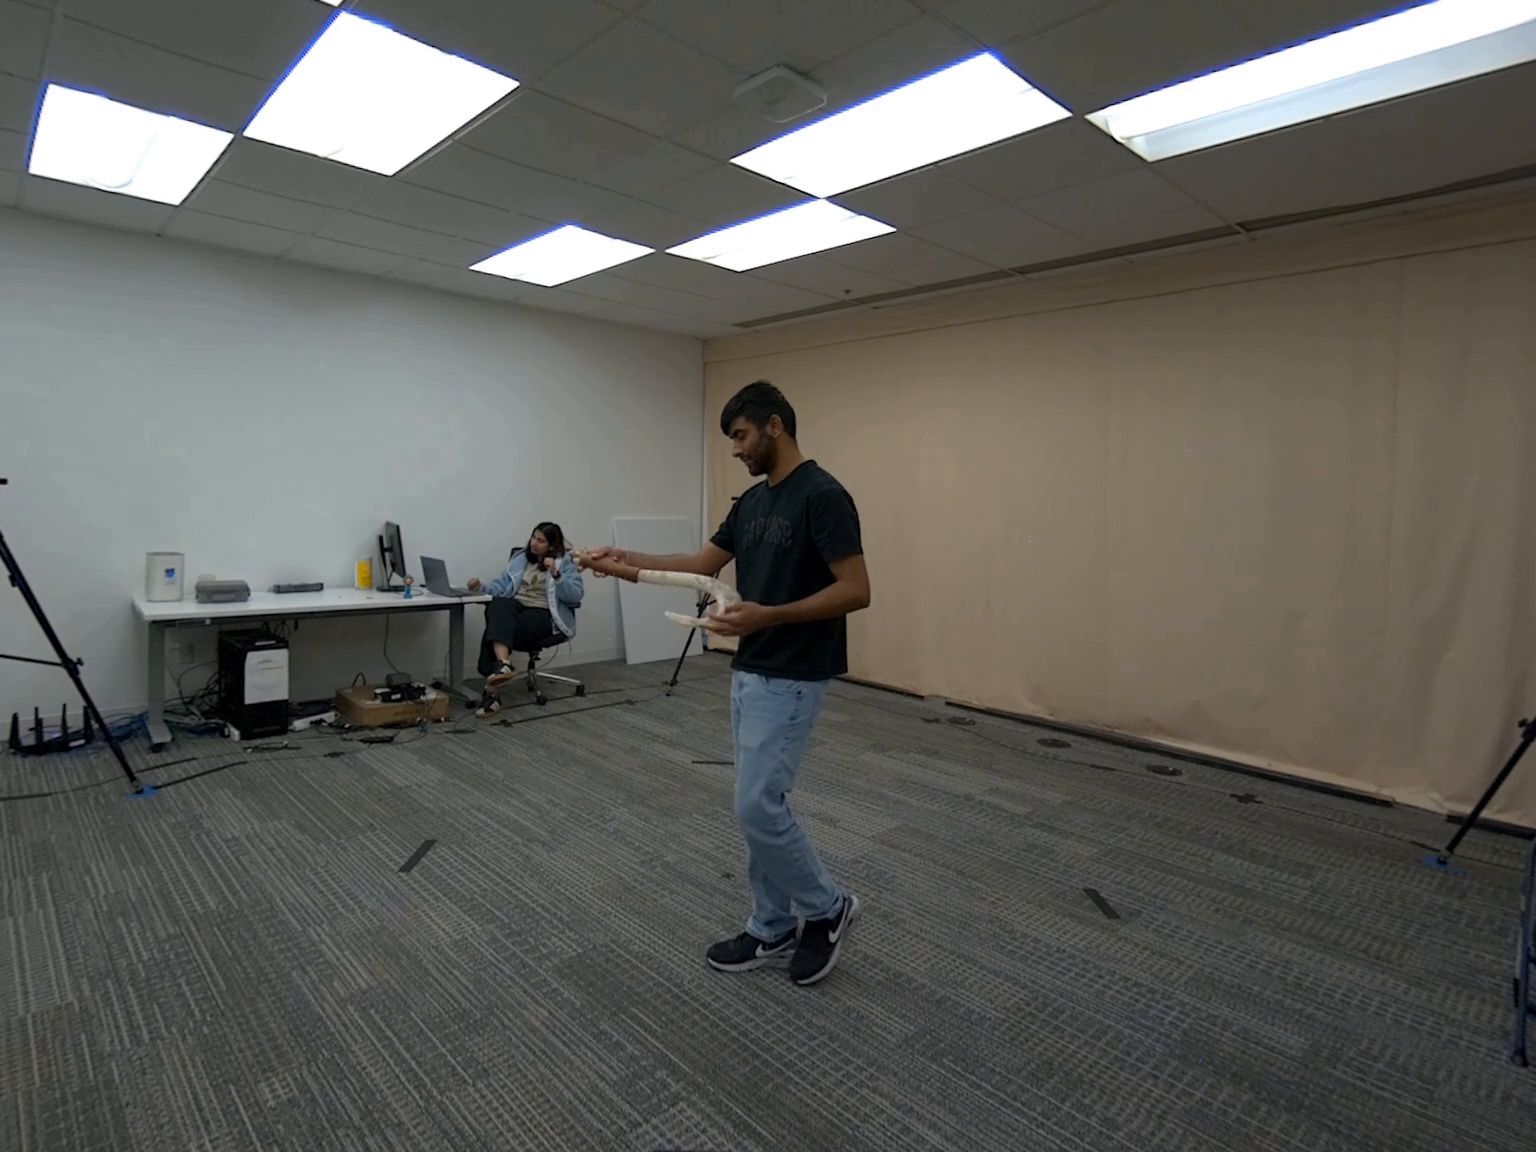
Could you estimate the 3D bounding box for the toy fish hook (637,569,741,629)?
[{"bbox_3d":[-0.318,0.034,2.339,0.507,0.047,0.228,13,32,1],"label":"toy fish hook"}]
